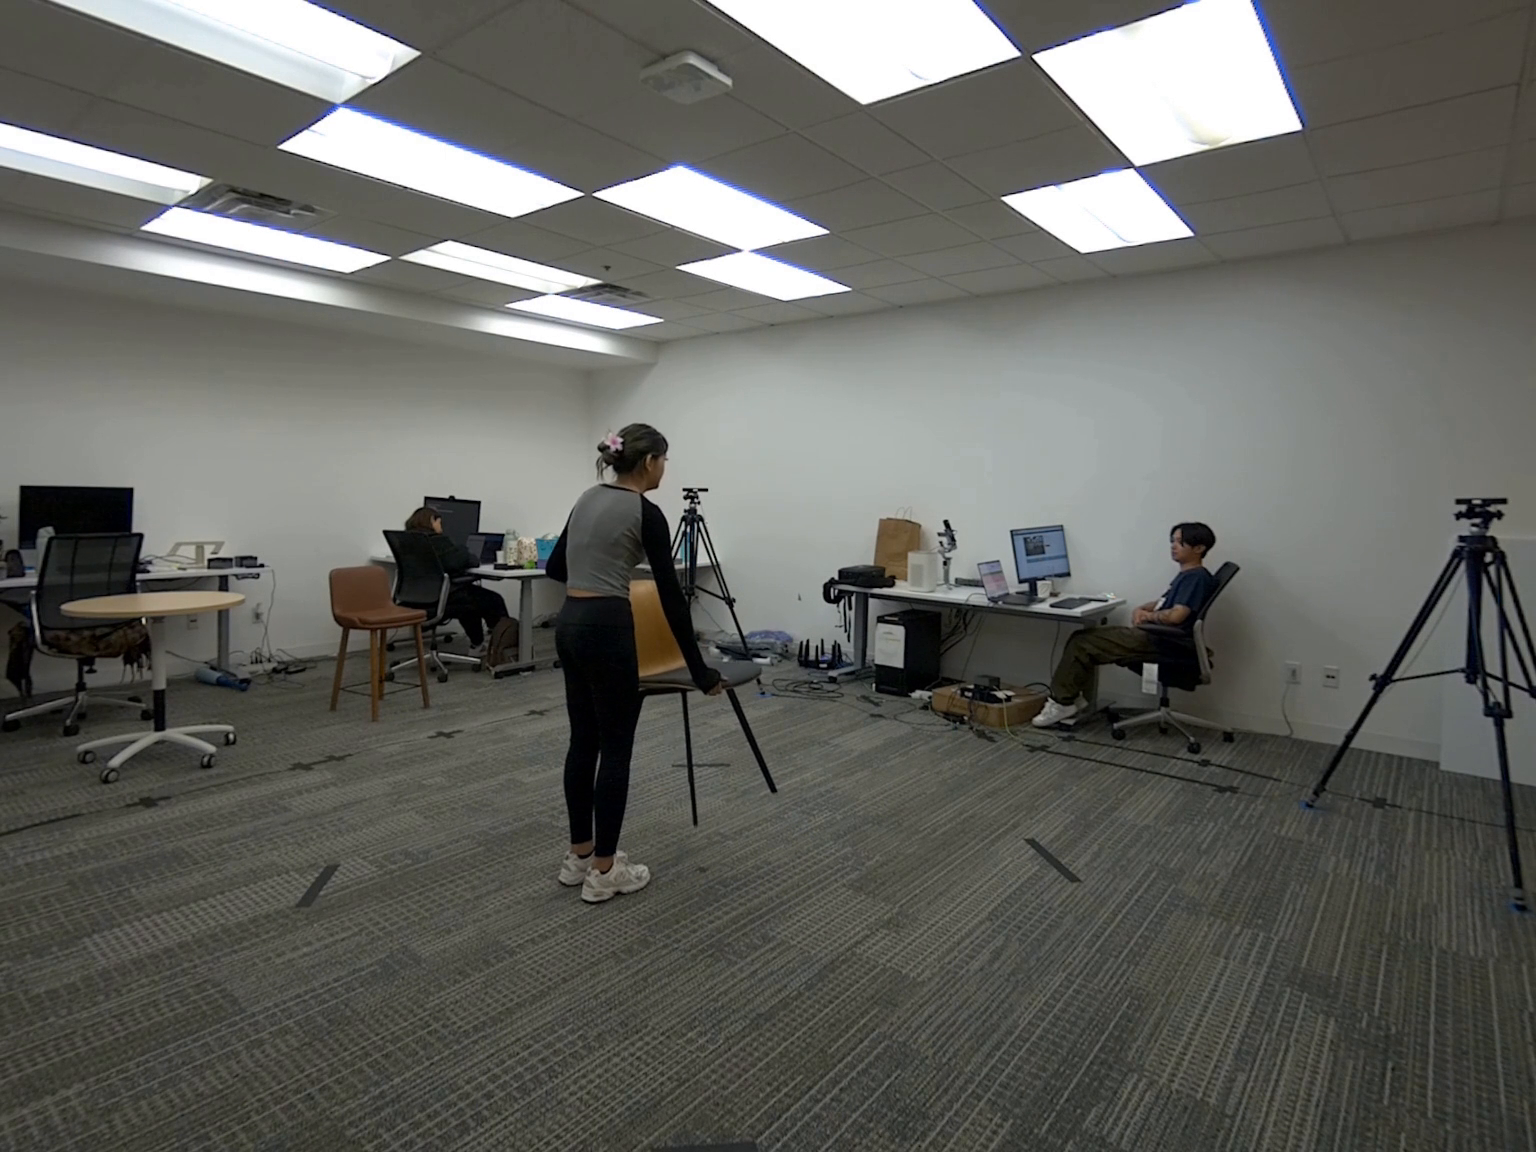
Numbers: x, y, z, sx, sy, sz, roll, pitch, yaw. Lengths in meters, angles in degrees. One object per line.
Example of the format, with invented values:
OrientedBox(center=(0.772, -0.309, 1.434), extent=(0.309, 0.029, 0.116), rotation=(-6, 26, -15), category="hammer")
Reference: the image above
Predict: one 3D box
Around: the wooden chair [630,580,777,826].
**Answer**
OrientedBox(center=(-0.318, 0.427, 3.196), extent=(0.536, 0.882, 0.464), rotation=(-12, -6, 39), category="wooden chair")
